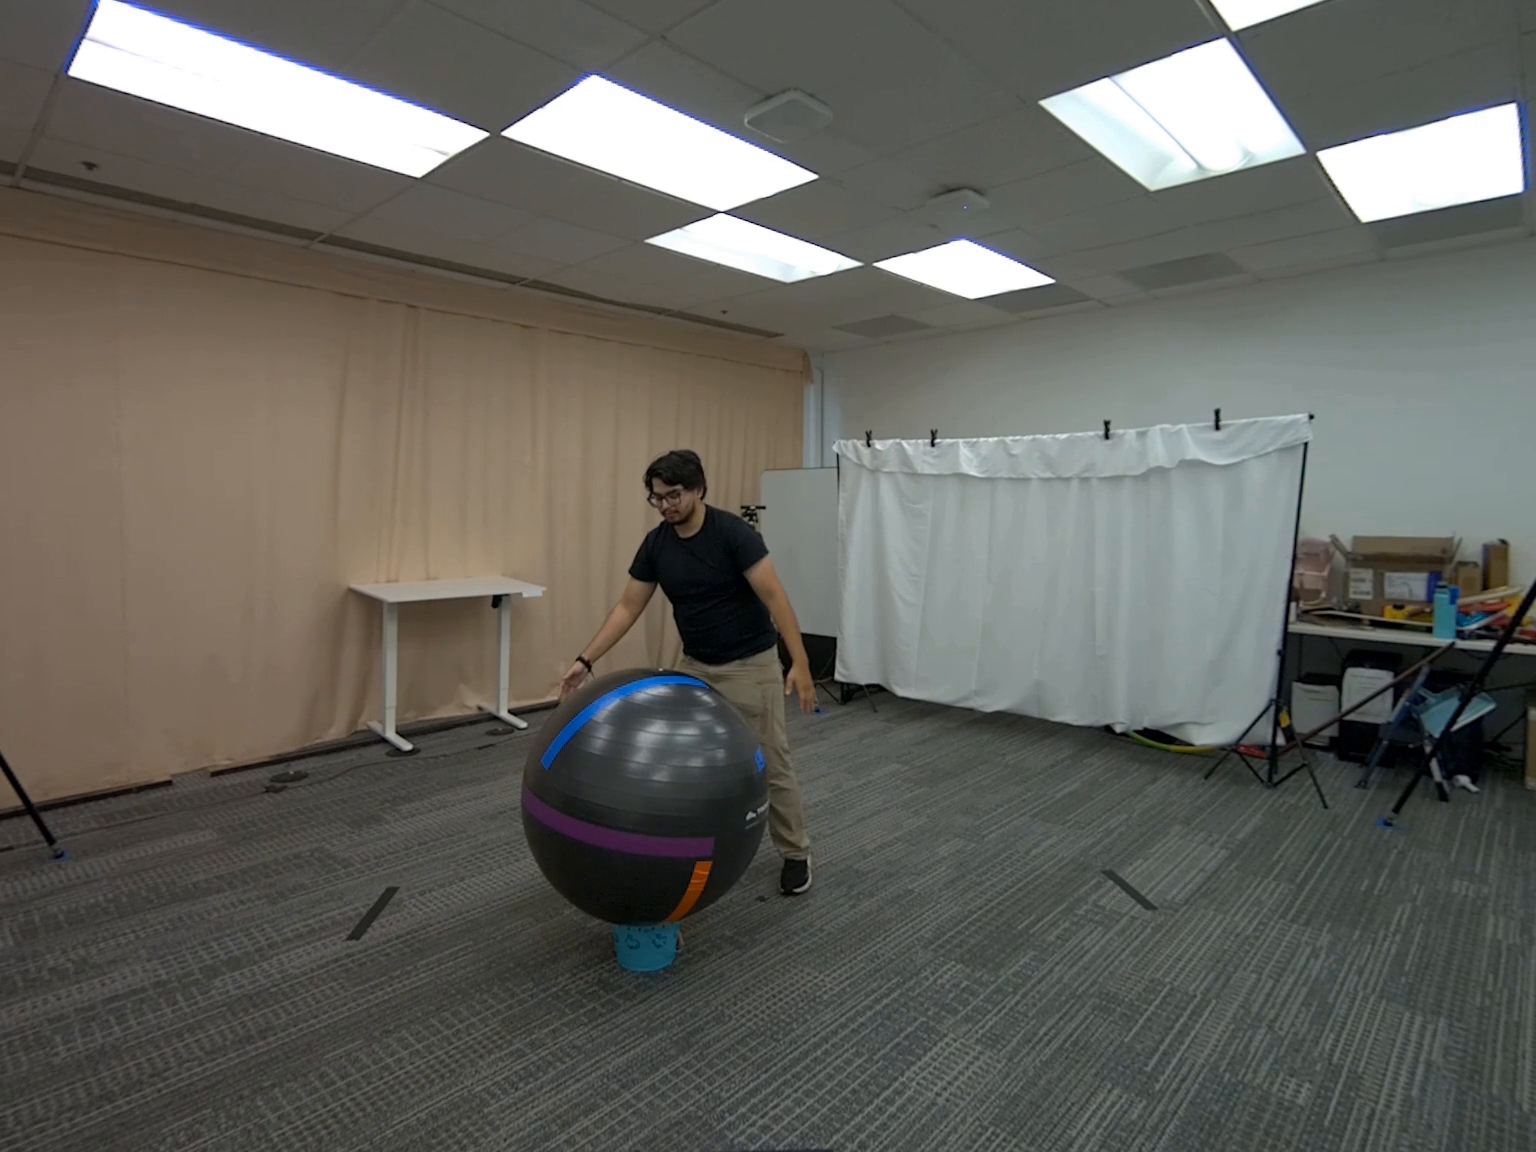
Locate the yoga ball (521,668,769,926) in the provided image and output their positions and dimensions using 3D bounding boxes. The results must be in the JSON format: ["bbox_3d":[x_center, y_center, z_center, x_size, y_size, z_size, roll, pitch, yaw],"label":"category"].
[{"bbox_3d":[-0.374,0.664,2.585,0.757,0.756,0.760,0,4,-2],"label":"yoga ball"}]
